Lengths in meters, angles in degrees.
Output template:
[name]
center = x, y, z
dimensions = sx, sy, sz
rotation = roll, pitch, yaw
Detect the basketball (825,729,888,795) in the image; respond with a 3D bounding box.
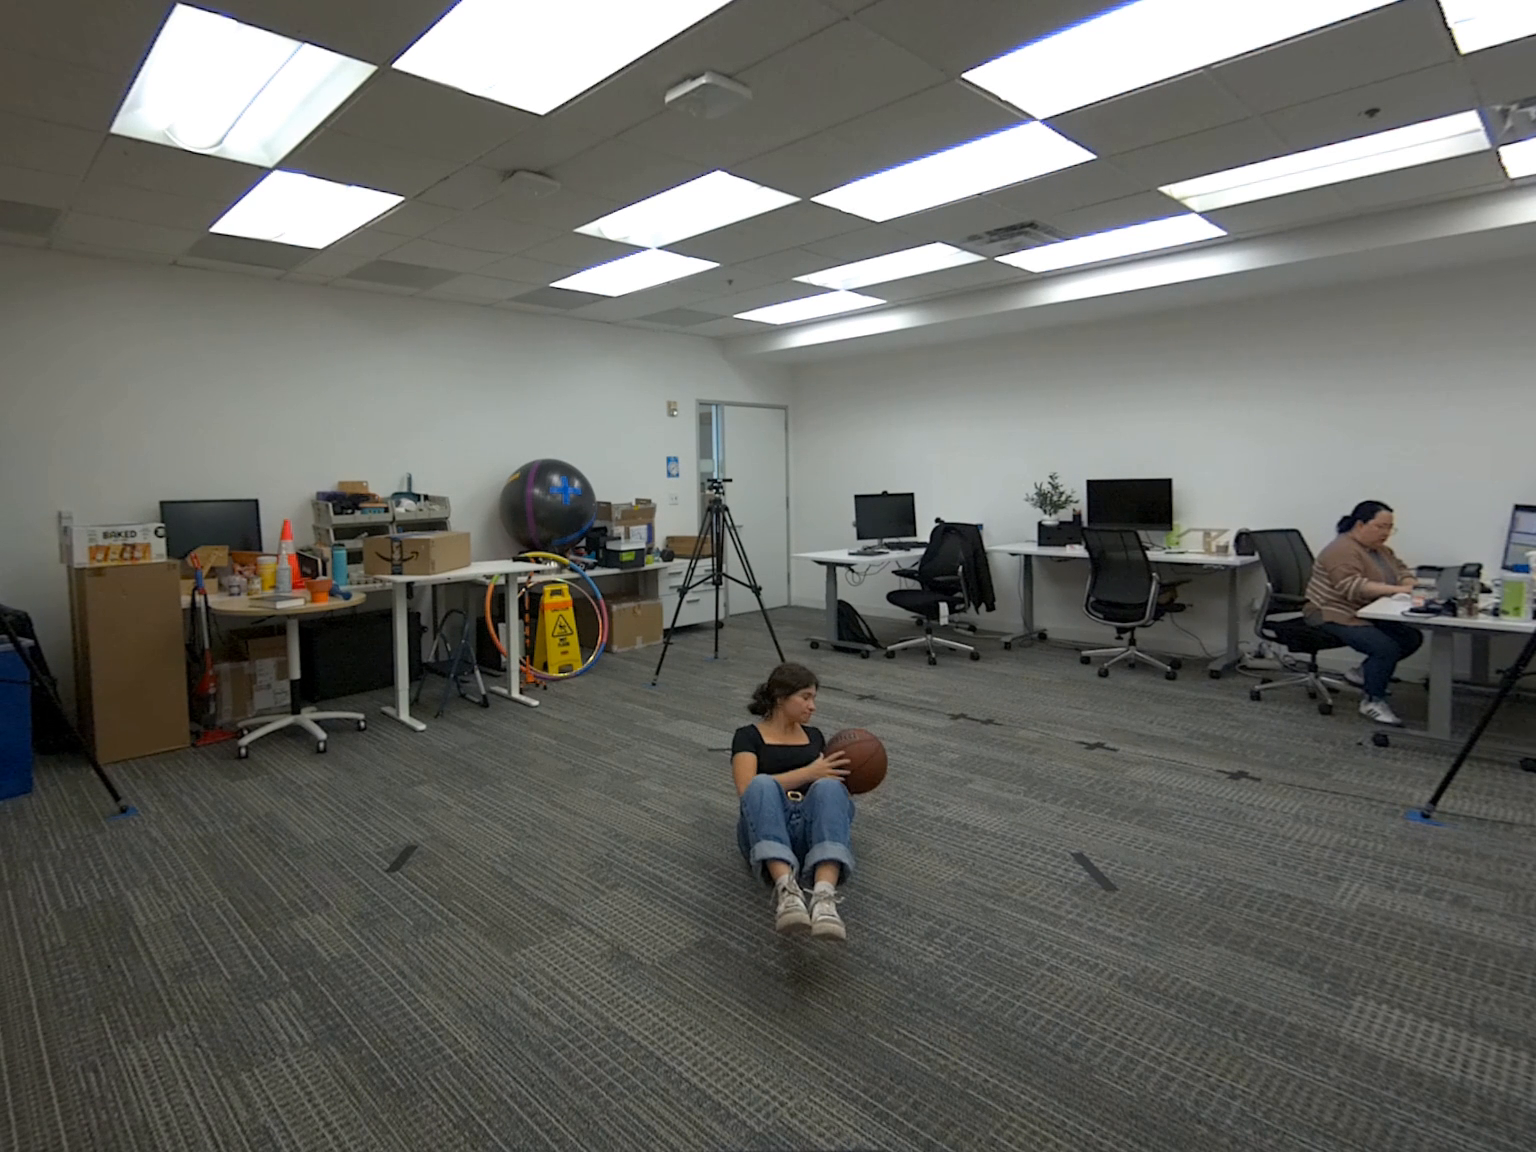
[basketball]
center = 0.314, 0.695, 3.178
dimensions = 0.236, 0.235, 0.237
rotation = -1, 5, -2
